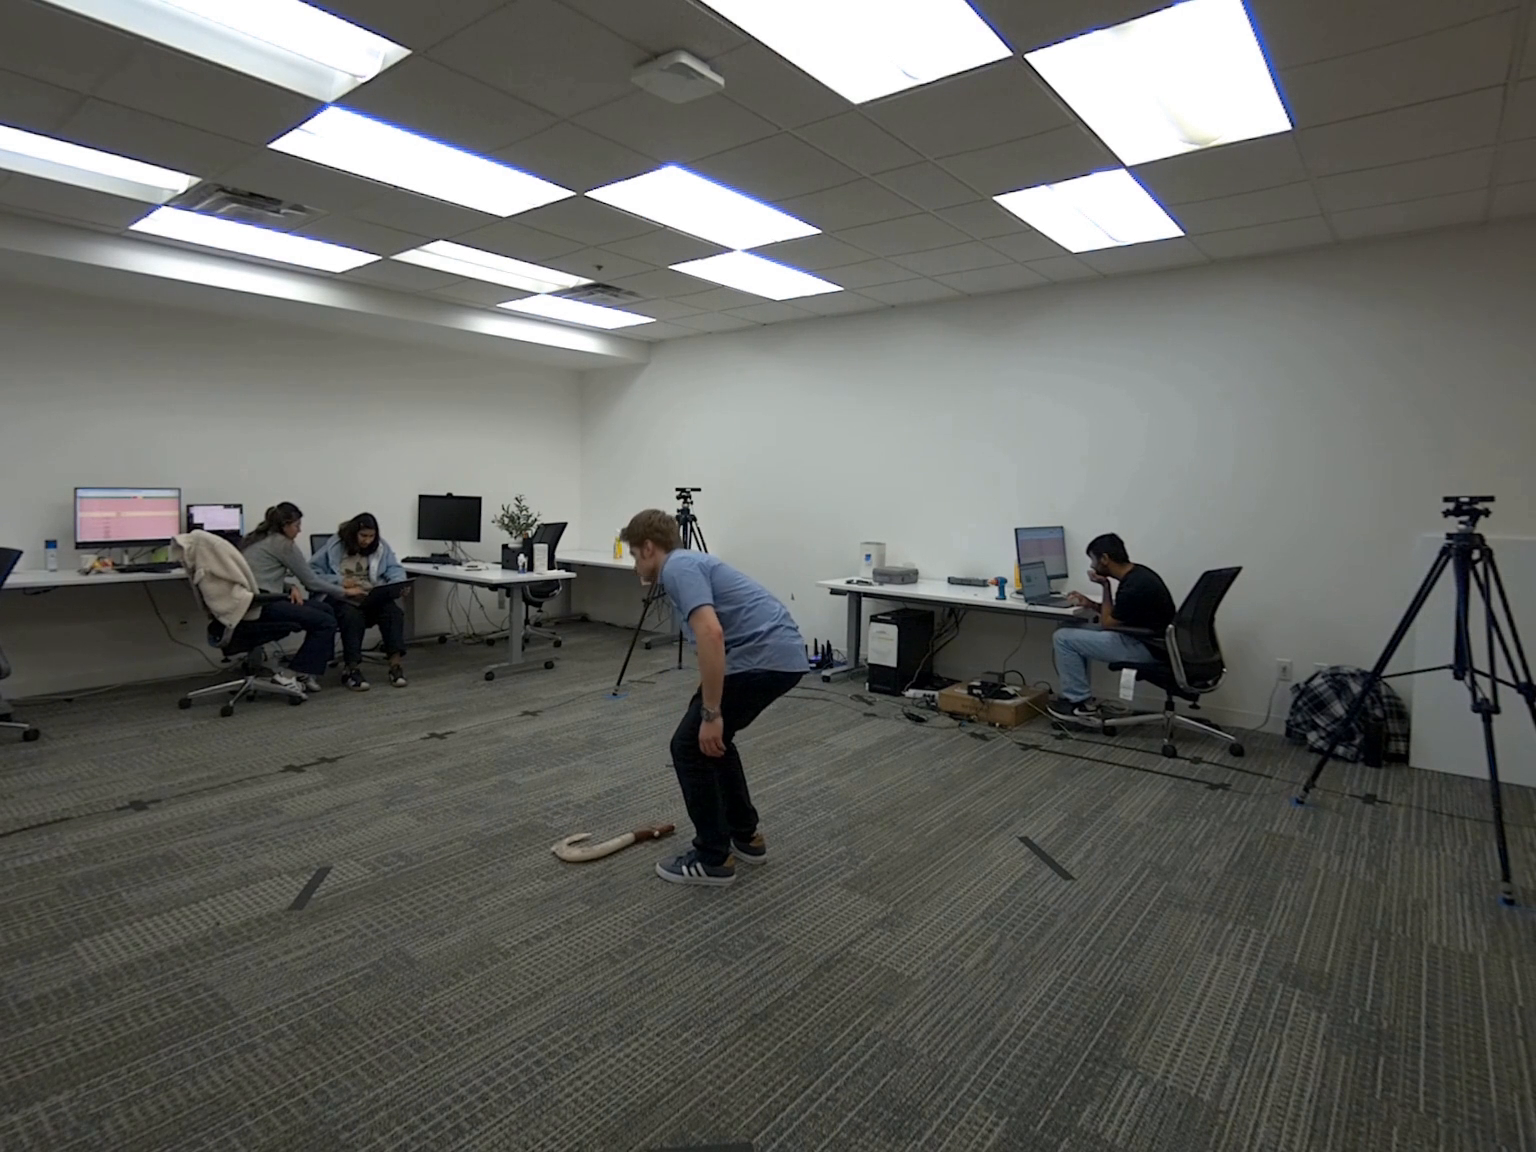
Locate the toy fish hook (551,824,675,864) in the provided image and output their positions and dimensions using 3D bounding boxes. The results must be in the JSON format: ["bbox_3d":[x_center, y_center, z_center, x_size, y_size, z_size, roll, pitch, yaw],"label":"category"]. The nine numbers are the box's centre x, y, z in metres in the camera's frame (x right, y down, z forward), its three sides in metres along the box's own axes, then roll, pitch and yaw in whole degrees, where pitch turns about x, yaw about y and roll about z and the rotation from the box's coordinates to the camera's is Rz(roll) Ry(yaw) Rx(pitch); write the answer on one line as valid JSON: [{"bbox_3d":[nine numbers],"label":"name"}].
[{"bbox_3d":[-0.610,1.019,3.326,0.491,0.048,0.232,-3,8,-38],"label":"toy fish hook"}]
